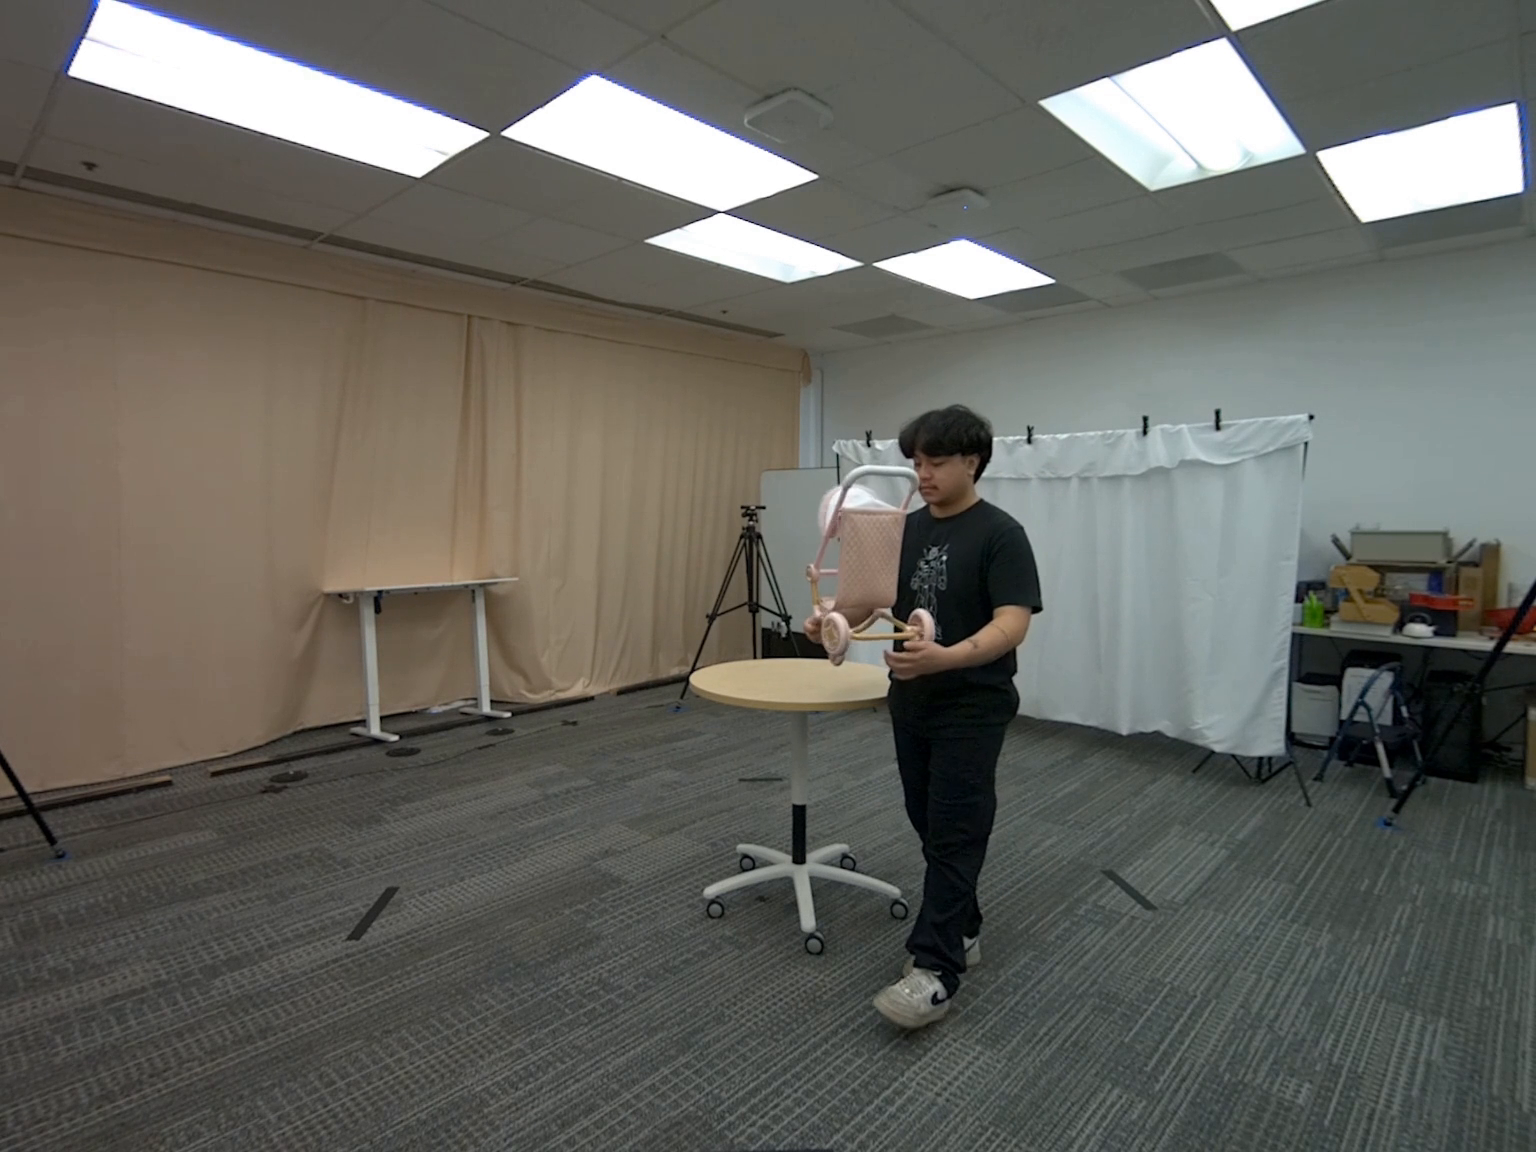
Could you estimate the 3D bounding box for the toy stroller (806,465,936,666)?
[{"bbox_3d":[0.247,-0.008,2.251,0.277,0.535,0.347,-1,1,-17],"label":"toy stroller"}]
